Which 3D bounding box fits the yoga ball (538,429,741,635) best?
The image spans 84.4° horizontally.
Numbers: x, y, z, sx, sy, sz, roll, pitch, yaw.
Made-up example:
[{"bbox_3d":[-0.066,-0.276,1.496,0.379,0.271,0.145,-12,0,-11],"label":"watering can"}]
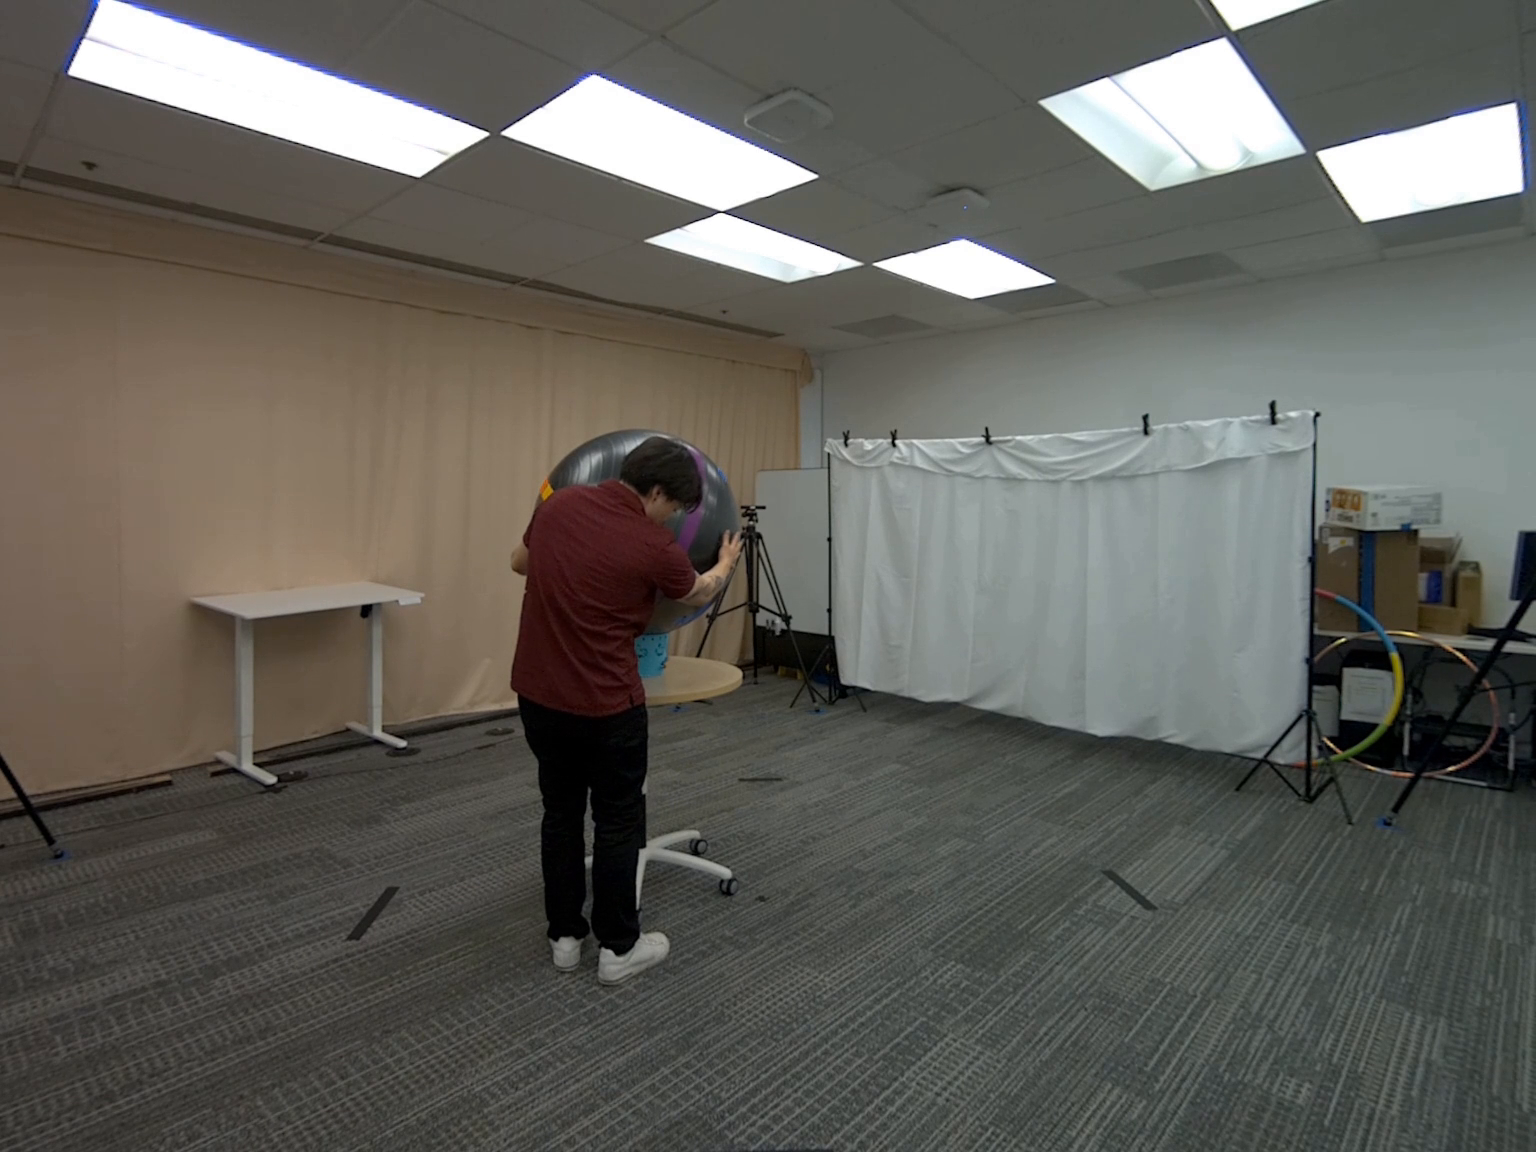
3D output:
[{"bbox_3d":[-0.483,-0.153,3.090,0.757,0.756,0.761,0,4,-2],"label":"yoga ball"}]
